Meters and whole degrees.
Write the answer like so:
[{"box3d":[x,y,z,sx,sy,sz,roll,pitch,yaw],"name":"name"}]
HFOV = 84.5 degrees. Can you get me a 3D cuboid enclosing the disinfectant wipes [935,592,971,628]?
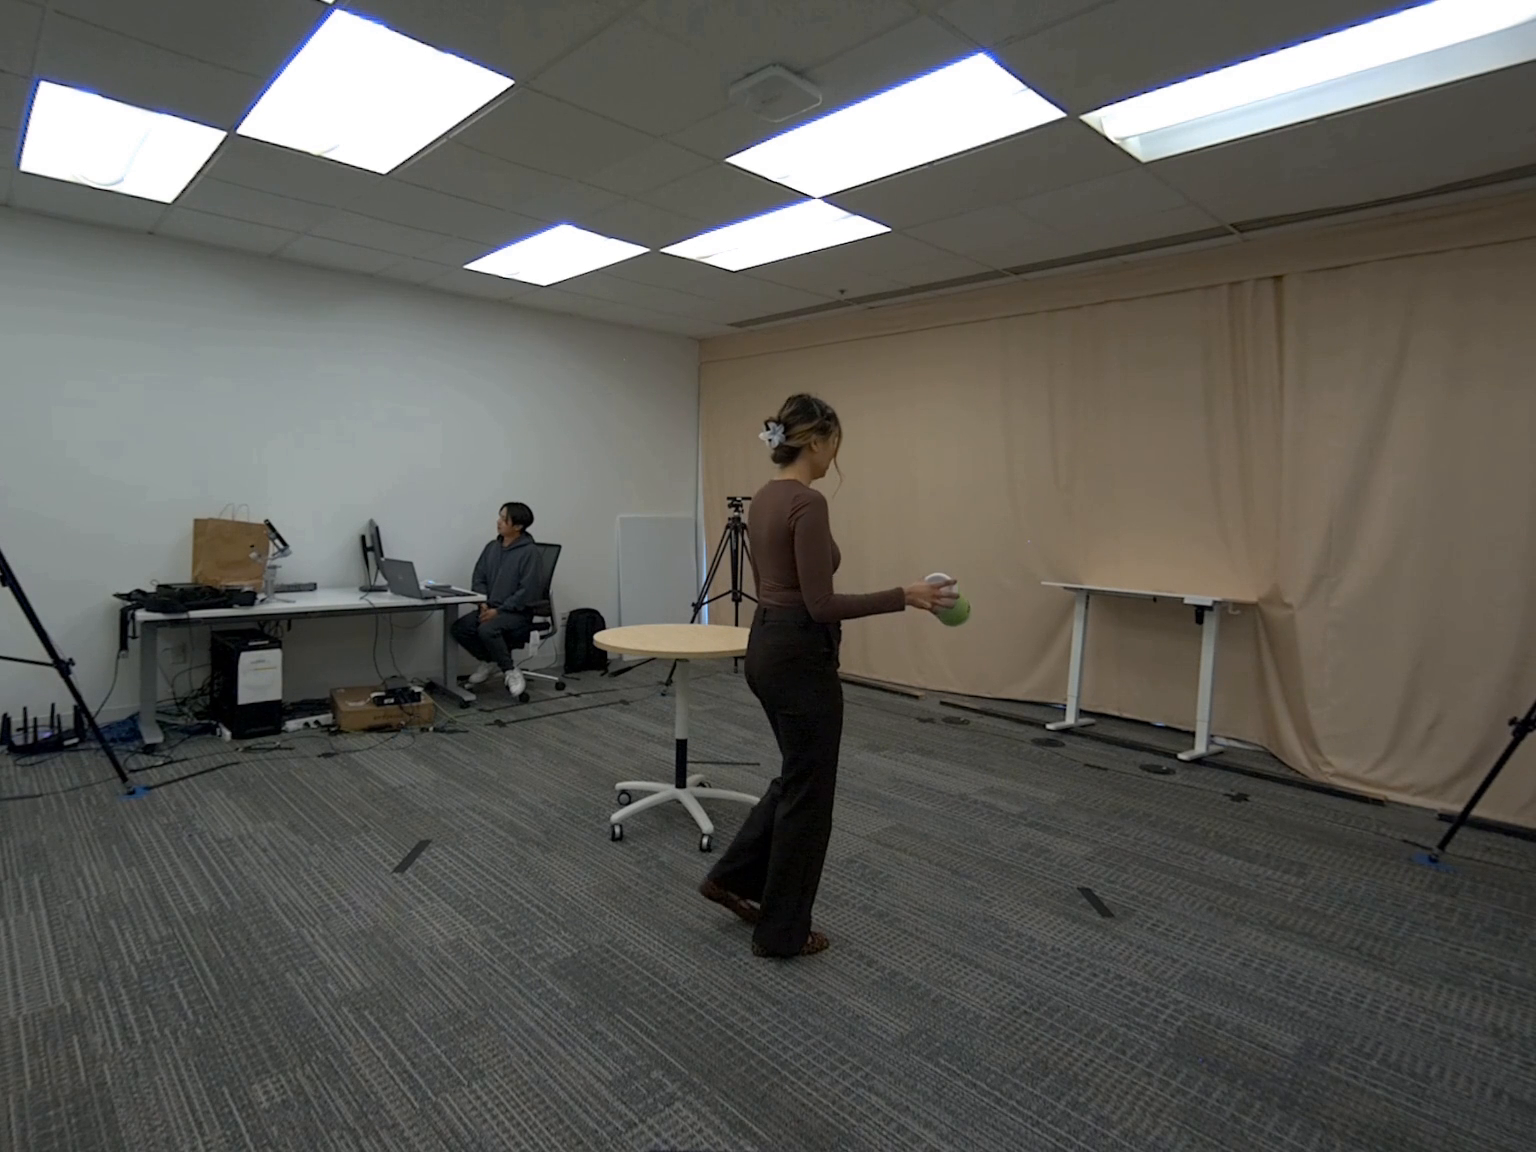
[{"box3d":[0.524,0.073,2.515,0.120,0.119,0.211,4,-18,29],"name":"disinfectant wipes"}]
